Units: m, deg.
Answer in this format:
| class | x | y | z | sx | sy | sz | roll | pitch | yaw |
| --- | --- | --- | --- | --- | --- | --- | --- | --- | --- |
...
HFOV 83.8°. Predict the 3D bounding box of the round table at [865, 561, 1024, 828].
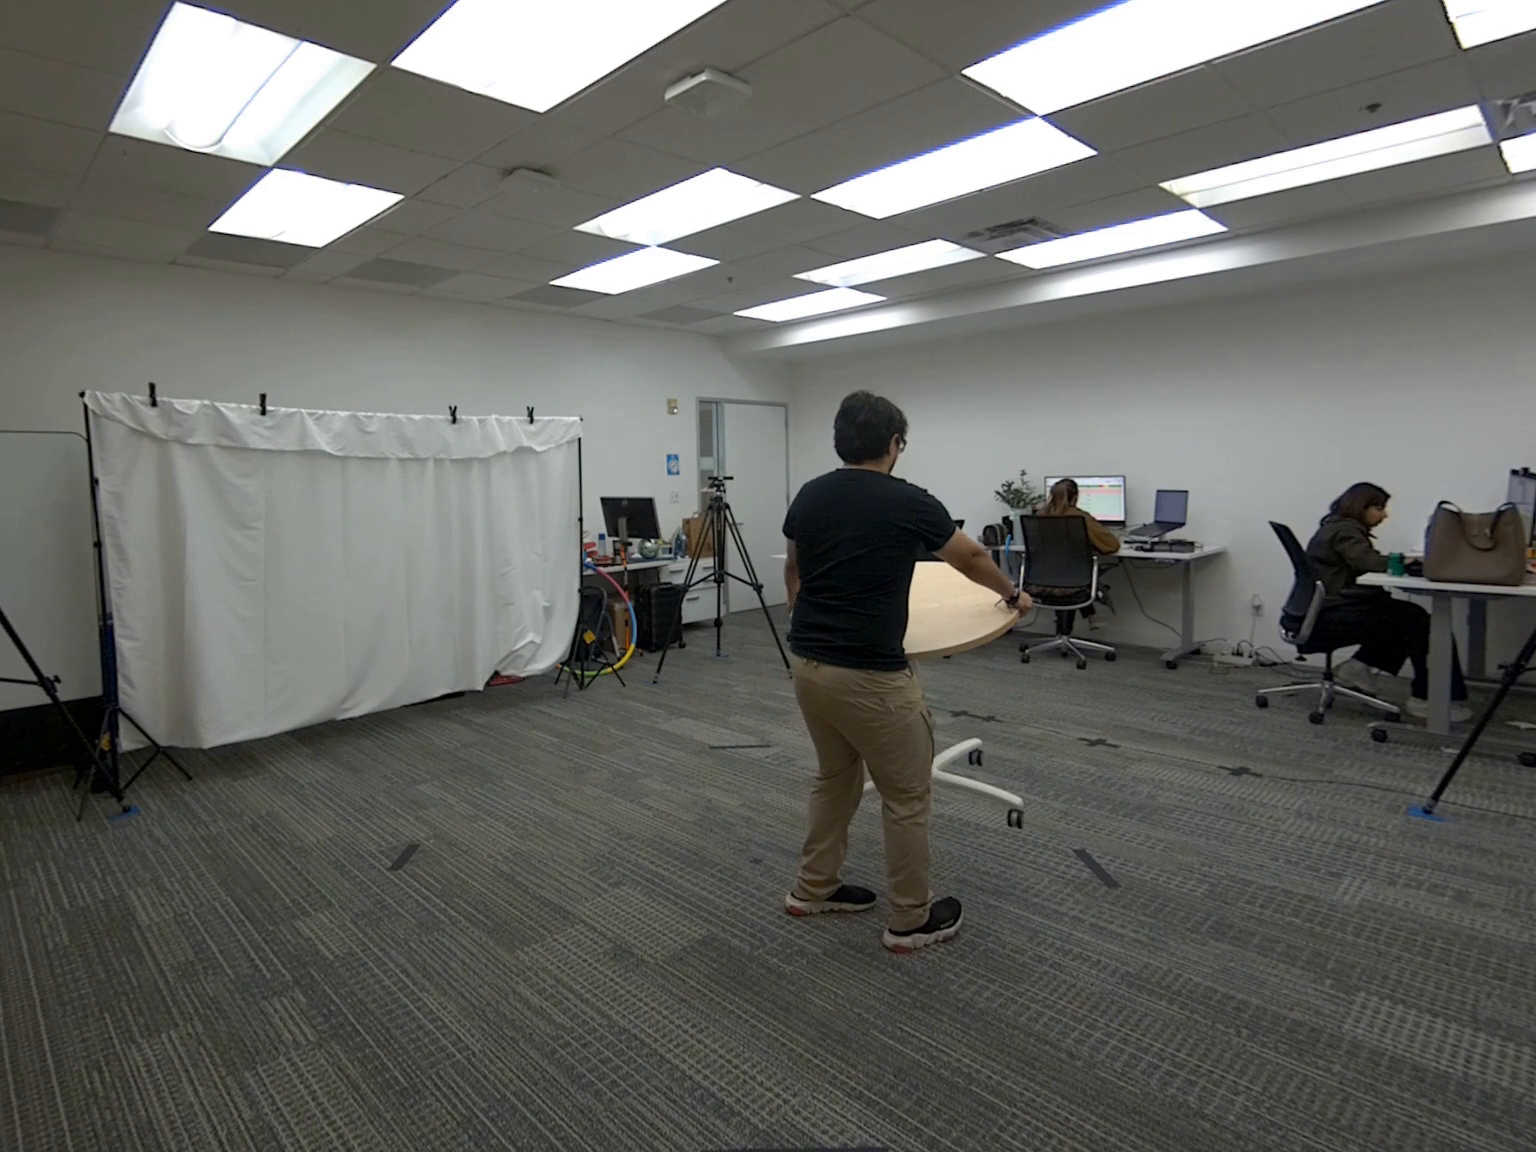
| class | x | y | z | sx | sy | sz | roll | pitch | yaw |
| --- | --- | --- | --- | --- | --- | --- | --- | --- | --- |
| round table | 0.505 | 0.467 | 3.024 | 0.786 | 0.772 | 0.798 | -9 | 18 | 1 |
